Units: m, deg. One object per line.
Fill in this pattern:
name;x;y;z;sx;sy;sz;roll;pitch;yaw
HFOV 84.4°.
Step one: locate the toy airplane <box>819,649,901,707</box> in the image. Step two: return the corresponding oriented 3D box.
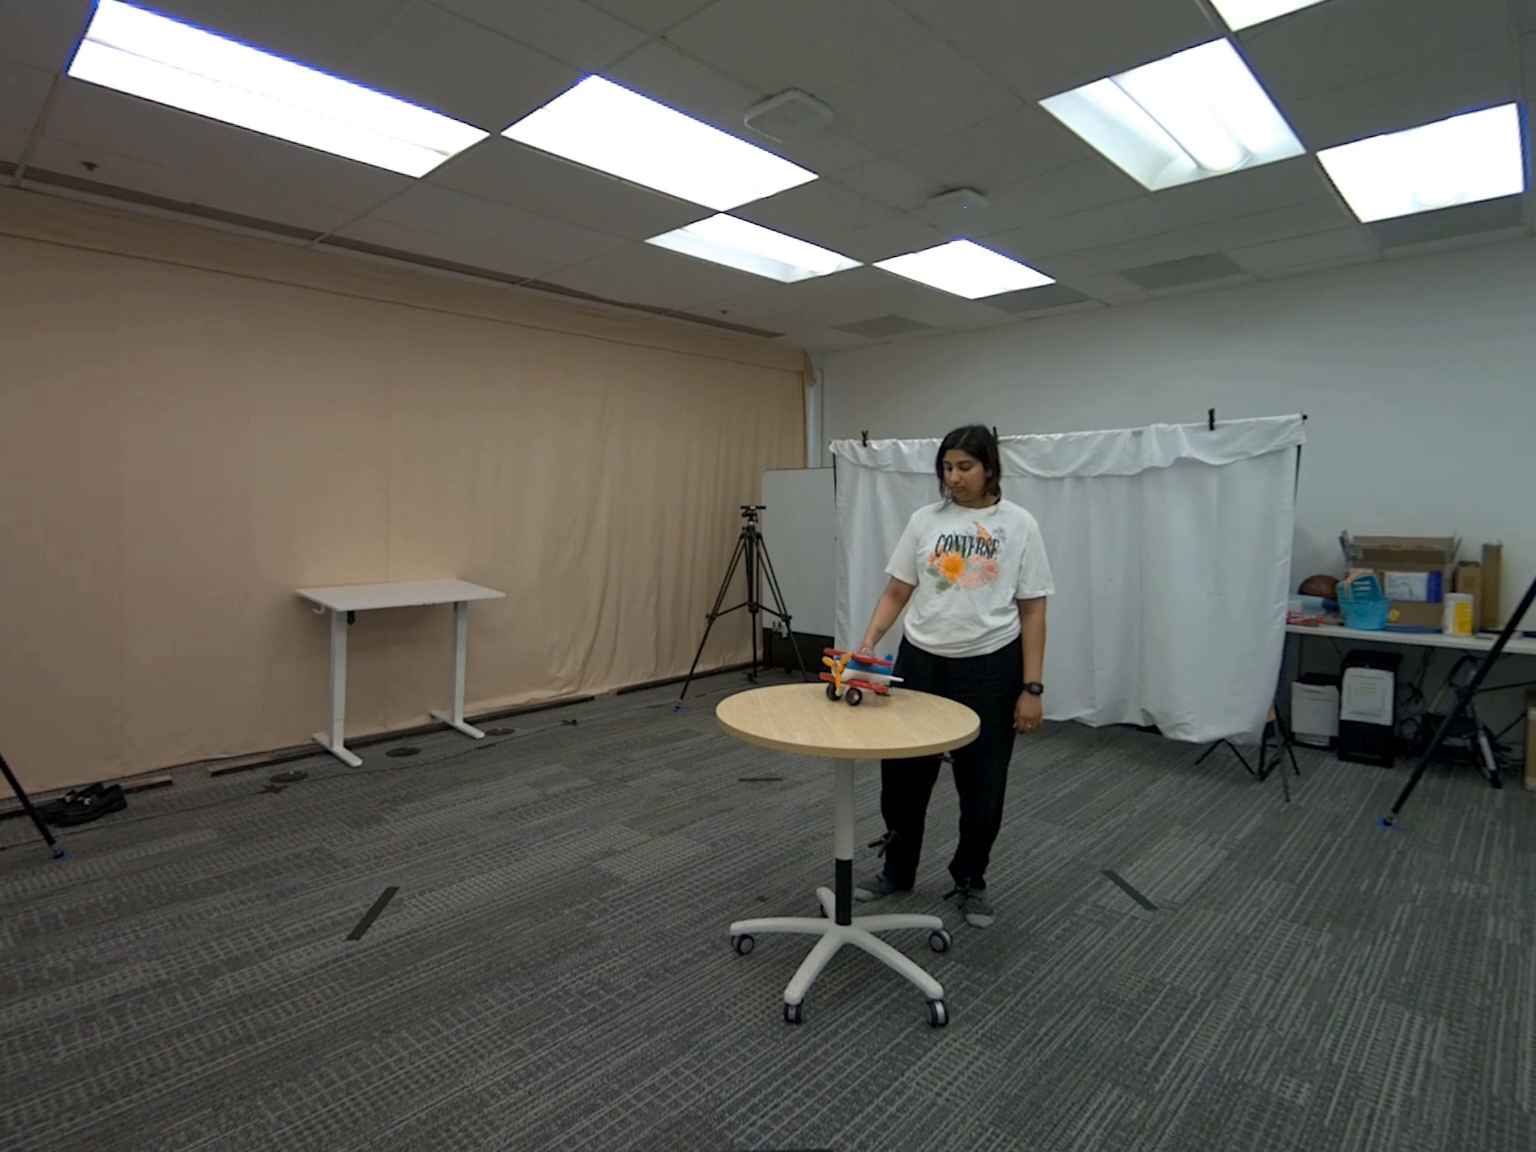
toy airplane;0.290;0.311;2.660;0.257;0.156;0.254;2;5;23
